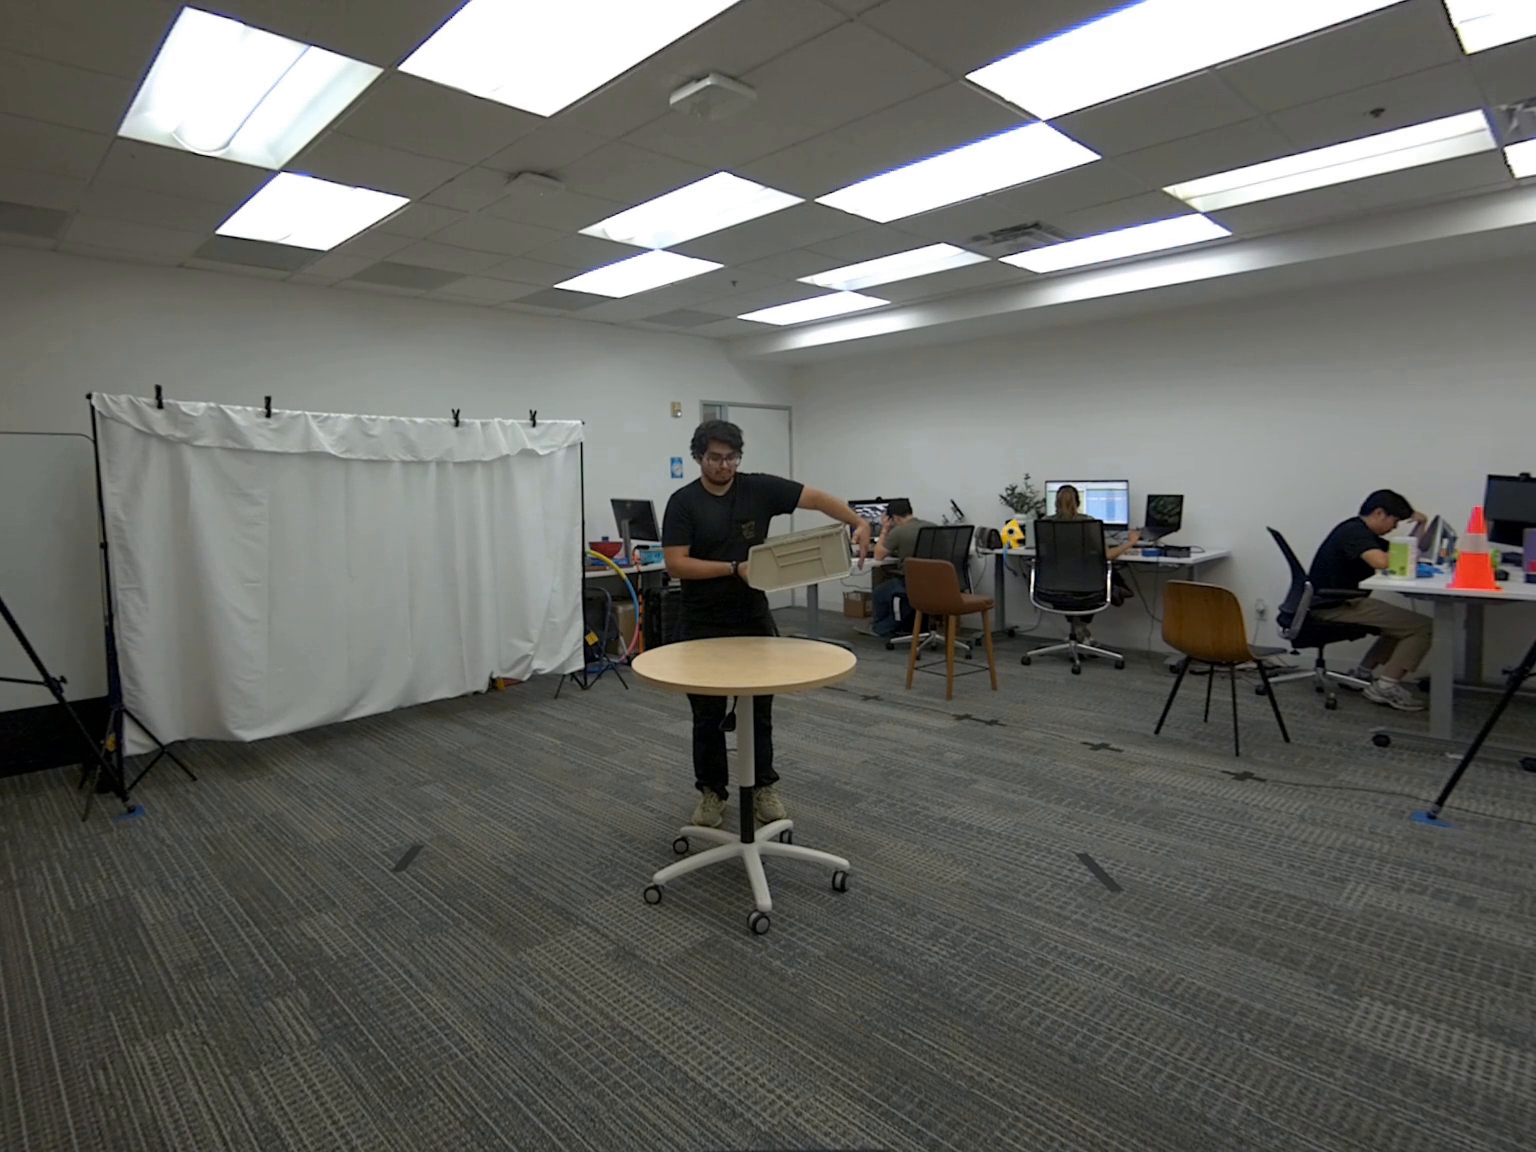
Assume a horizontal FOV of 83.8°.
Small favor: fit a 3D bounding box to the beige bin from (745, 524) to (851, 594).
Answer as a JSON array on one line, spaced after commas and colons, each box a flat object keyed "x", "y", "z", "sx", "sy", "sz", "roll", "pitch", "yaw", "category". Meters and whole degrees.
[{"x": 0.129, "y": -0.073, "z": 3.292, "sx": 0.380, "sy": 0.188, "sz": 0.420, "roll": -9, "pitch": 3, "yaw": 9, "category": "beige bin"}]
